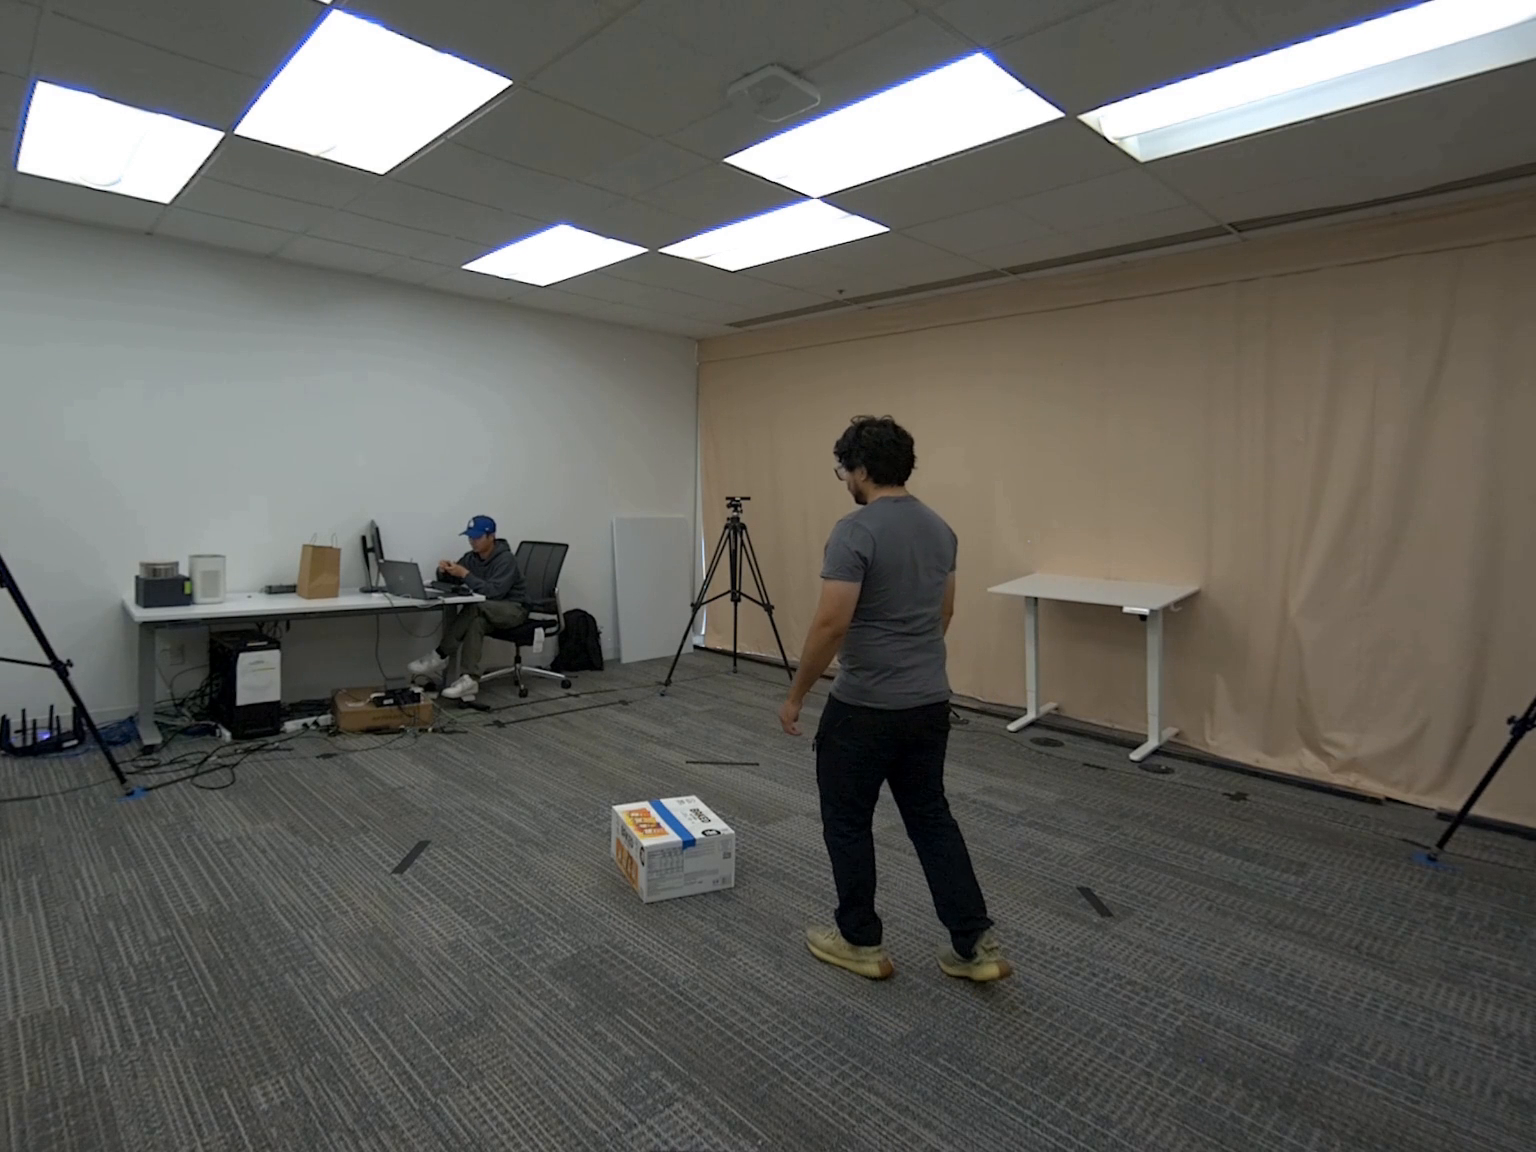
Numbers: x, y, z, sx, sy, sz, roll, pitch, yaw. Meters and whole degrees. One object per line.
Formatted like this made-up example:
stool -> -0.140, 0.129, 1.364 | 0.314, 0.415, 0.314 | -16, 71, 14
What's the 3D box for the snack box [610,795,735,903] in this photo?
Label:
snack box -> -0.369, 1.001, 3.113 | 0.334, 0.205, 0.413 | -1, 5, -25
